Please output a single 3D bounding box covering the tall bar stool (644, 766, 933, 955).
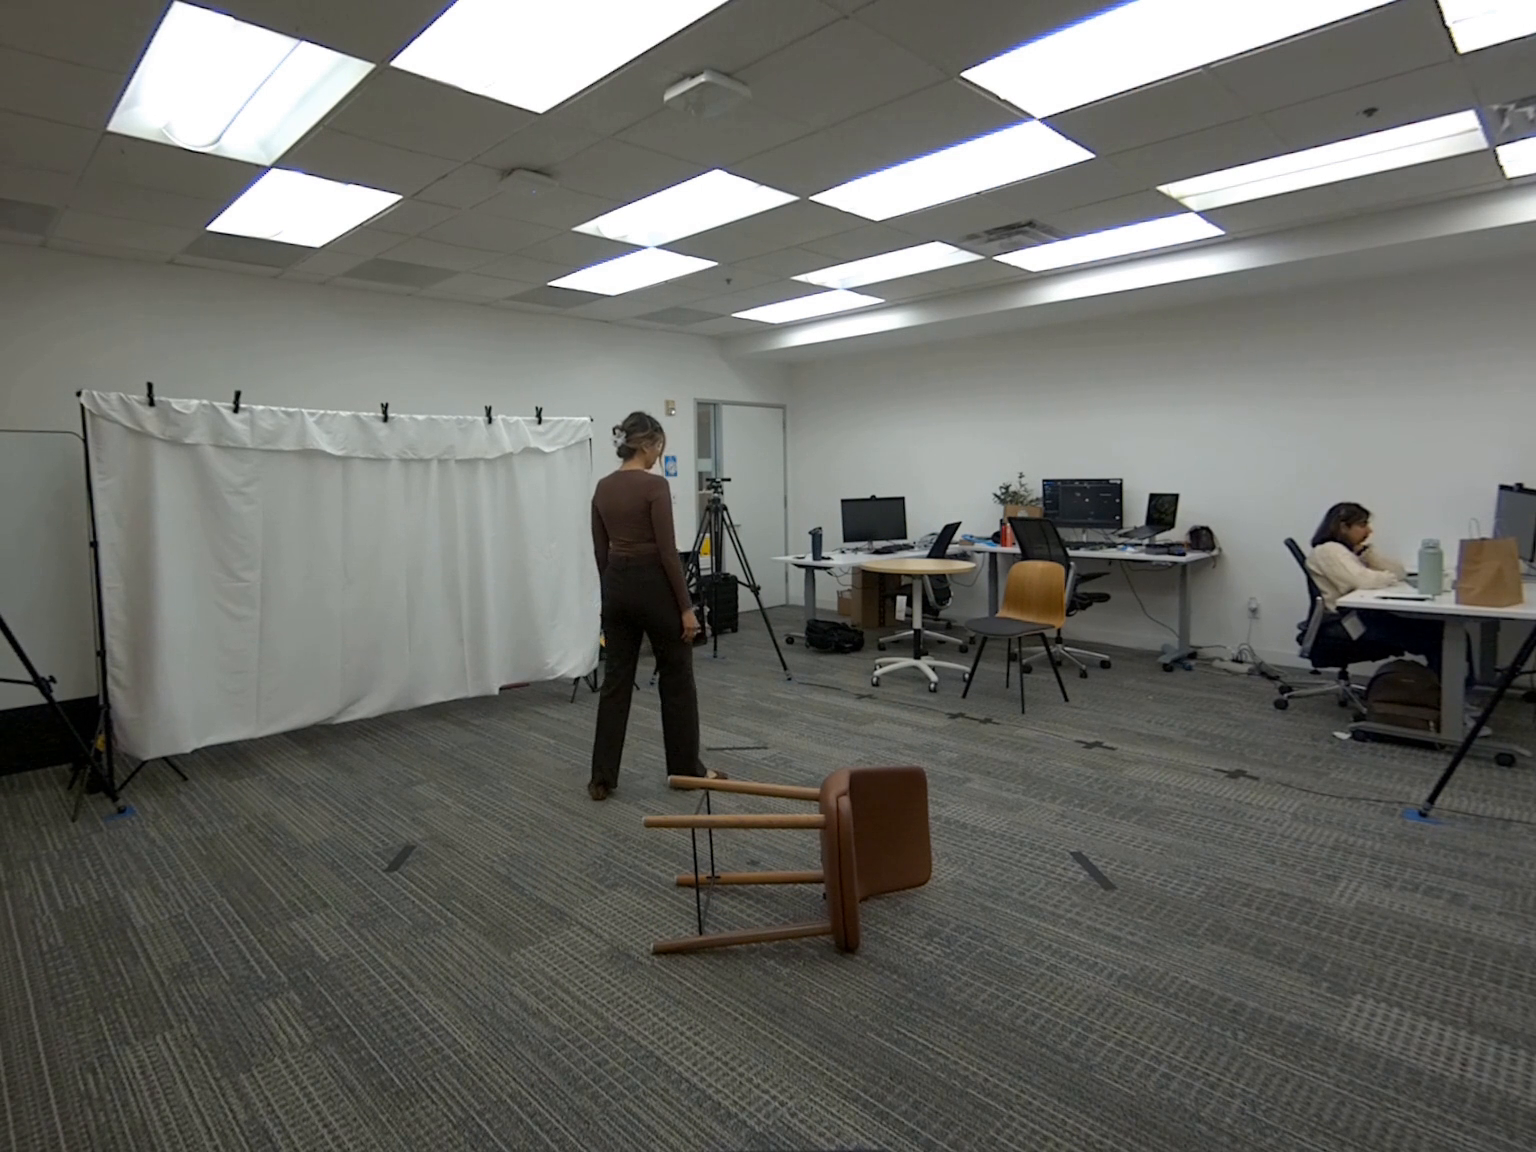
[{"bbox_3d":[0.096,0.874,2.691,0.893,0.455,0.467,-3,3,4],"label":"tall bar stool"}]
